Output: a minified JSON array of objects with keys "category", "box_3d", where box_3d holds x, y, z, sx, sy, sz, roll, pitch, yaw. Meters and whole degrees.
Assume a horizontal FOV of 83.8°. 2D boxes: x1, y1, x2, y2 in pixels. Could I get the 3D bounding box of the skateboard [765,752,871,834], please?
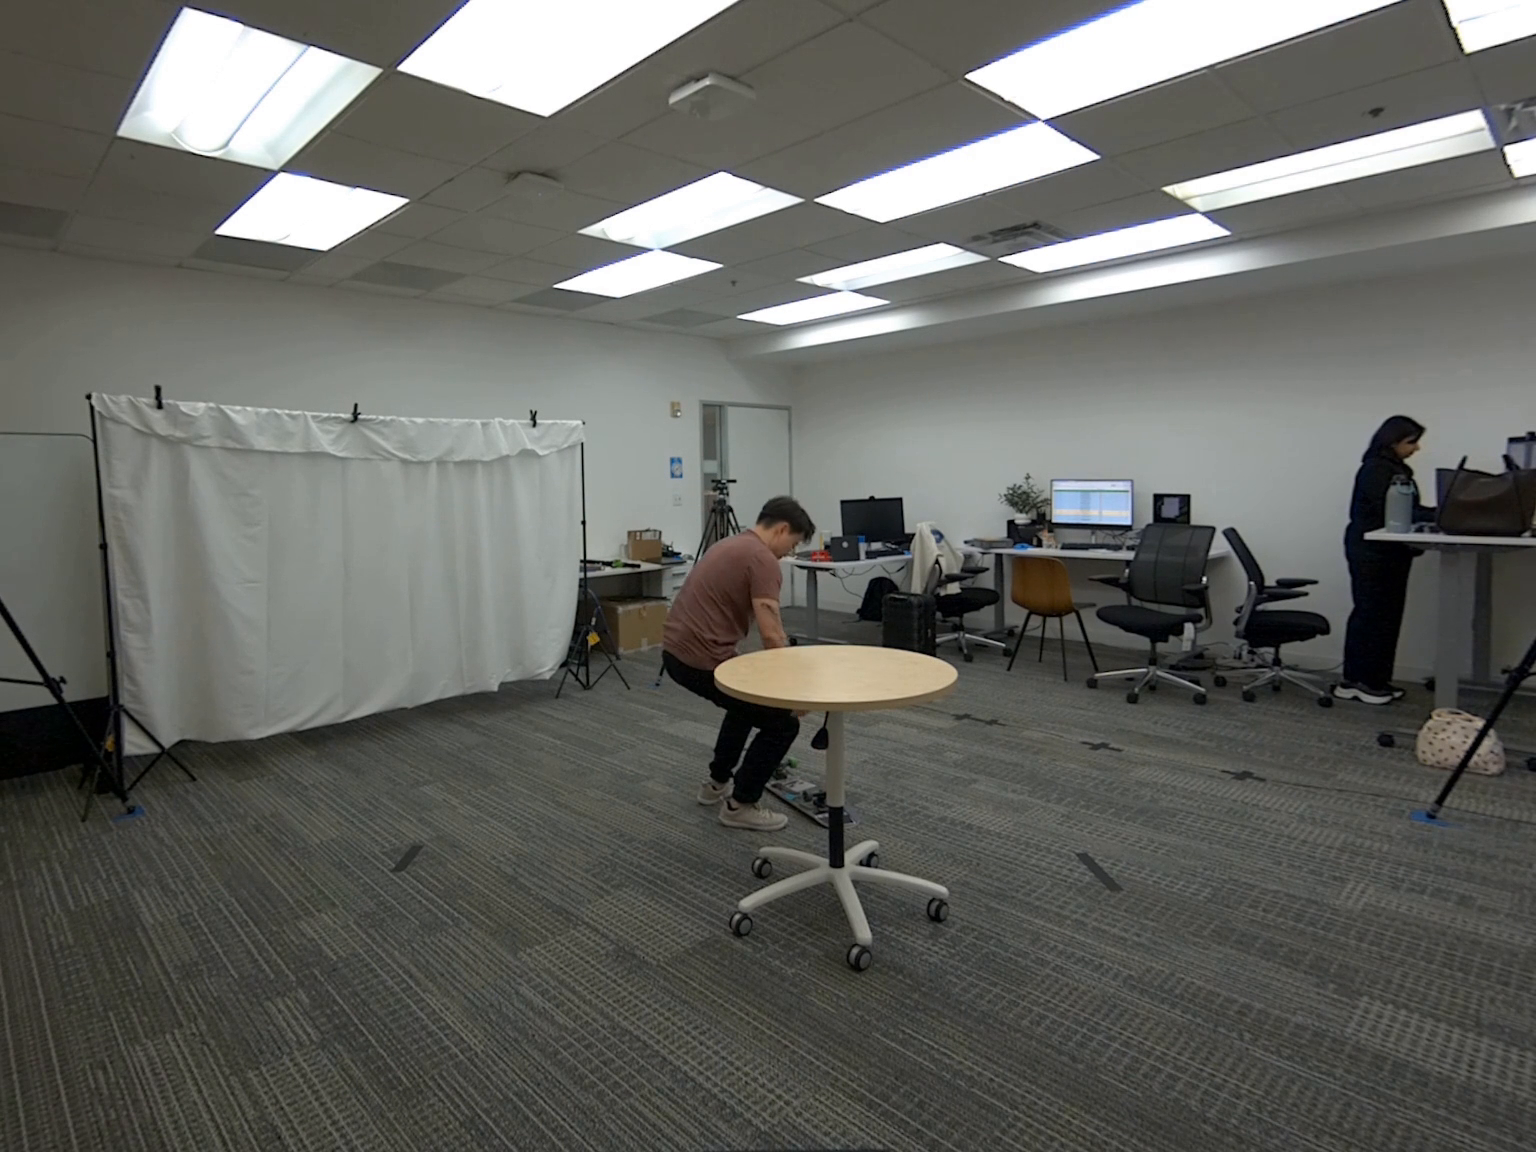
[{"category":"skateboard","box_3d":[0.136,0.912,3.752,0.189,0.110,0.806,-4,7,-27]}]
